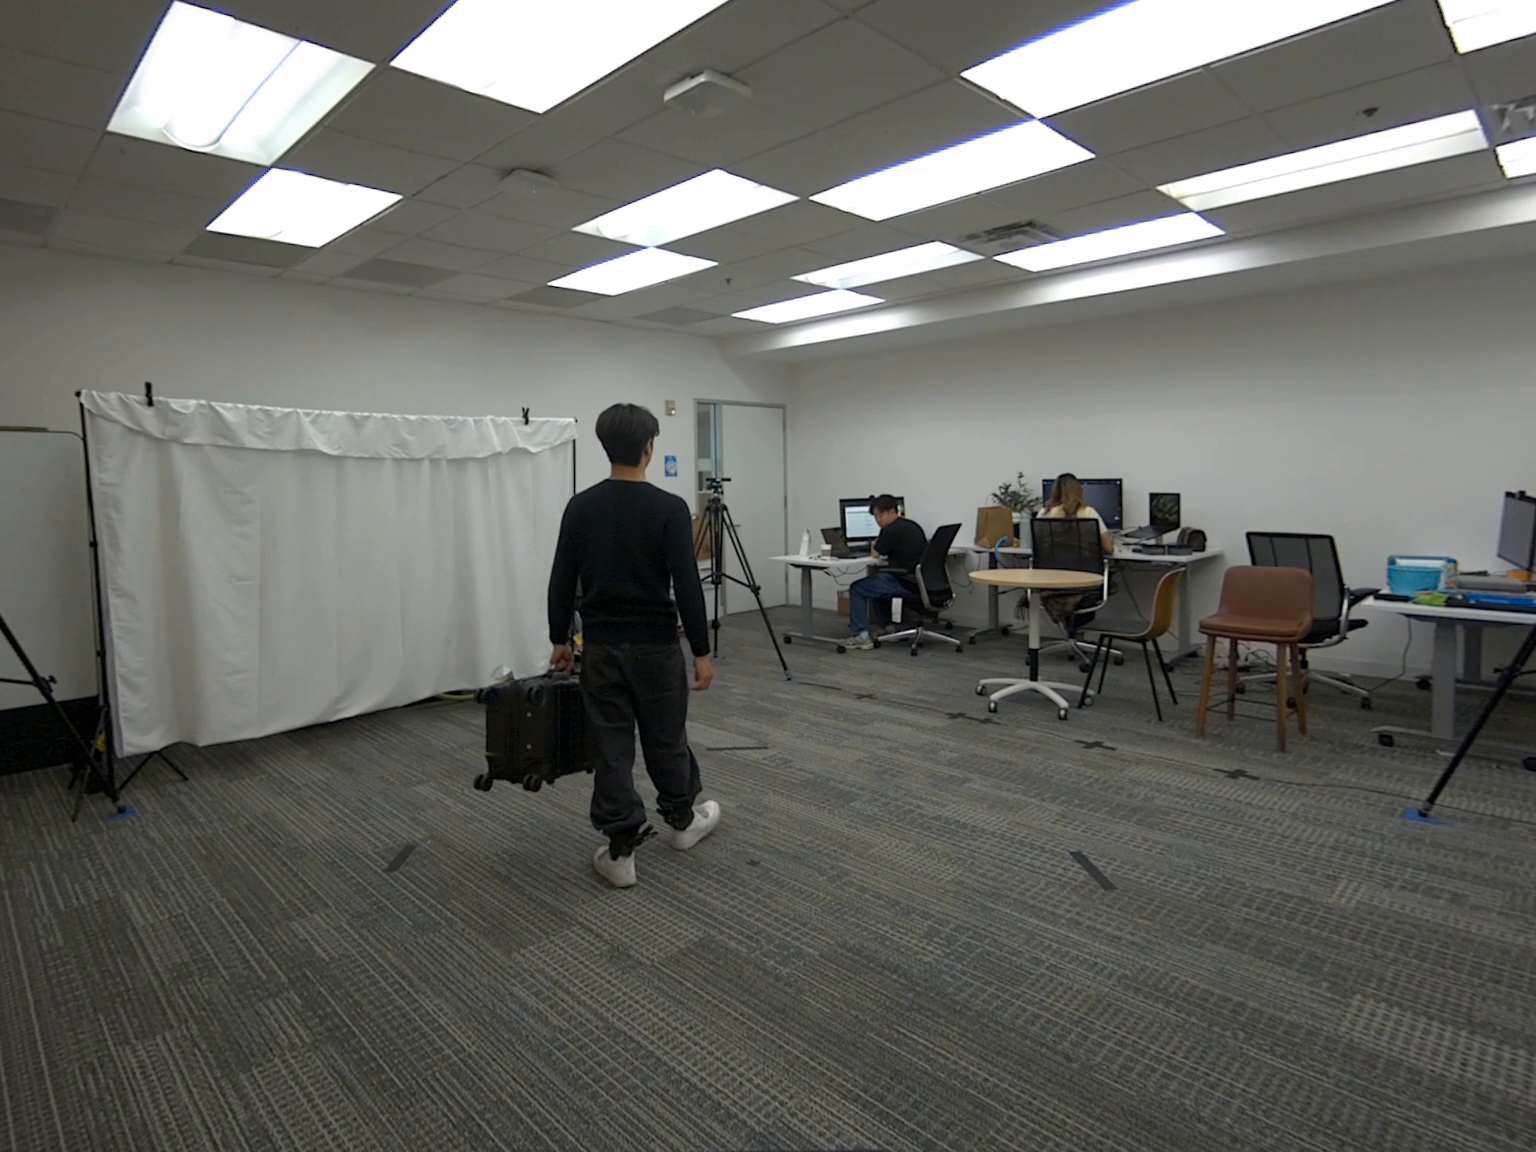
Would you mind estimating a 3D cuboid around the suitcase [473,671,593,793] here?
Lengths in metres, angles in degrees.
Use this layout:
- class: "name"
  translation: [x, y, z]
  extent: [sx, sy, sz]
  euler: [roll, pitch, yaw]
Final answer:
- class: "suitcase"
  translation: [-0.735, 0.565, 3.335]
  extent: [0.261, 0.386, 0.956]
  euler: [-5, -5, 19]
